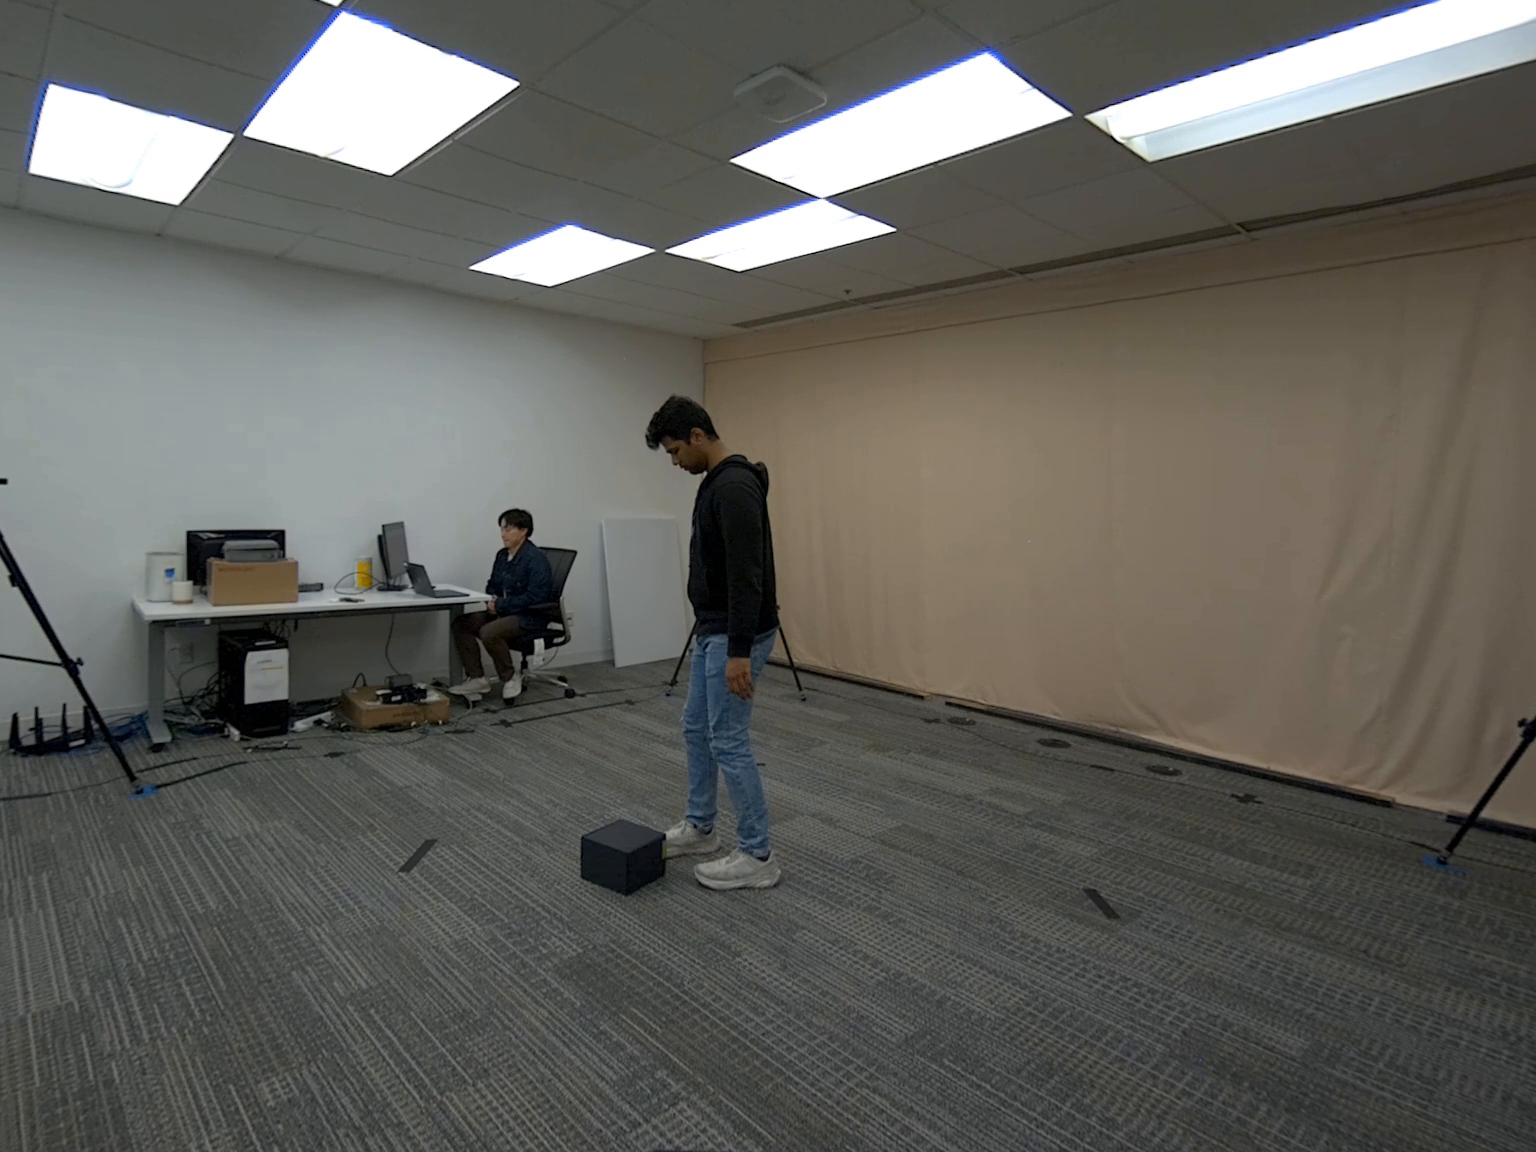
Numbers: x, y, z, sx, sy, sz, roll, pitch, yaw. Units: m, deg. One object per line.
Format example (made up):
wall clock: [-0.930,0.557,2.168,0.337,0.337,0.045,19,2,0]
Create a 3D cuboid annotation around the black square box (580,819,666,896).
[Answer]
black square box: [-0.531,1.017,3.080,0.233,0.155,0.212,5,5,33]
